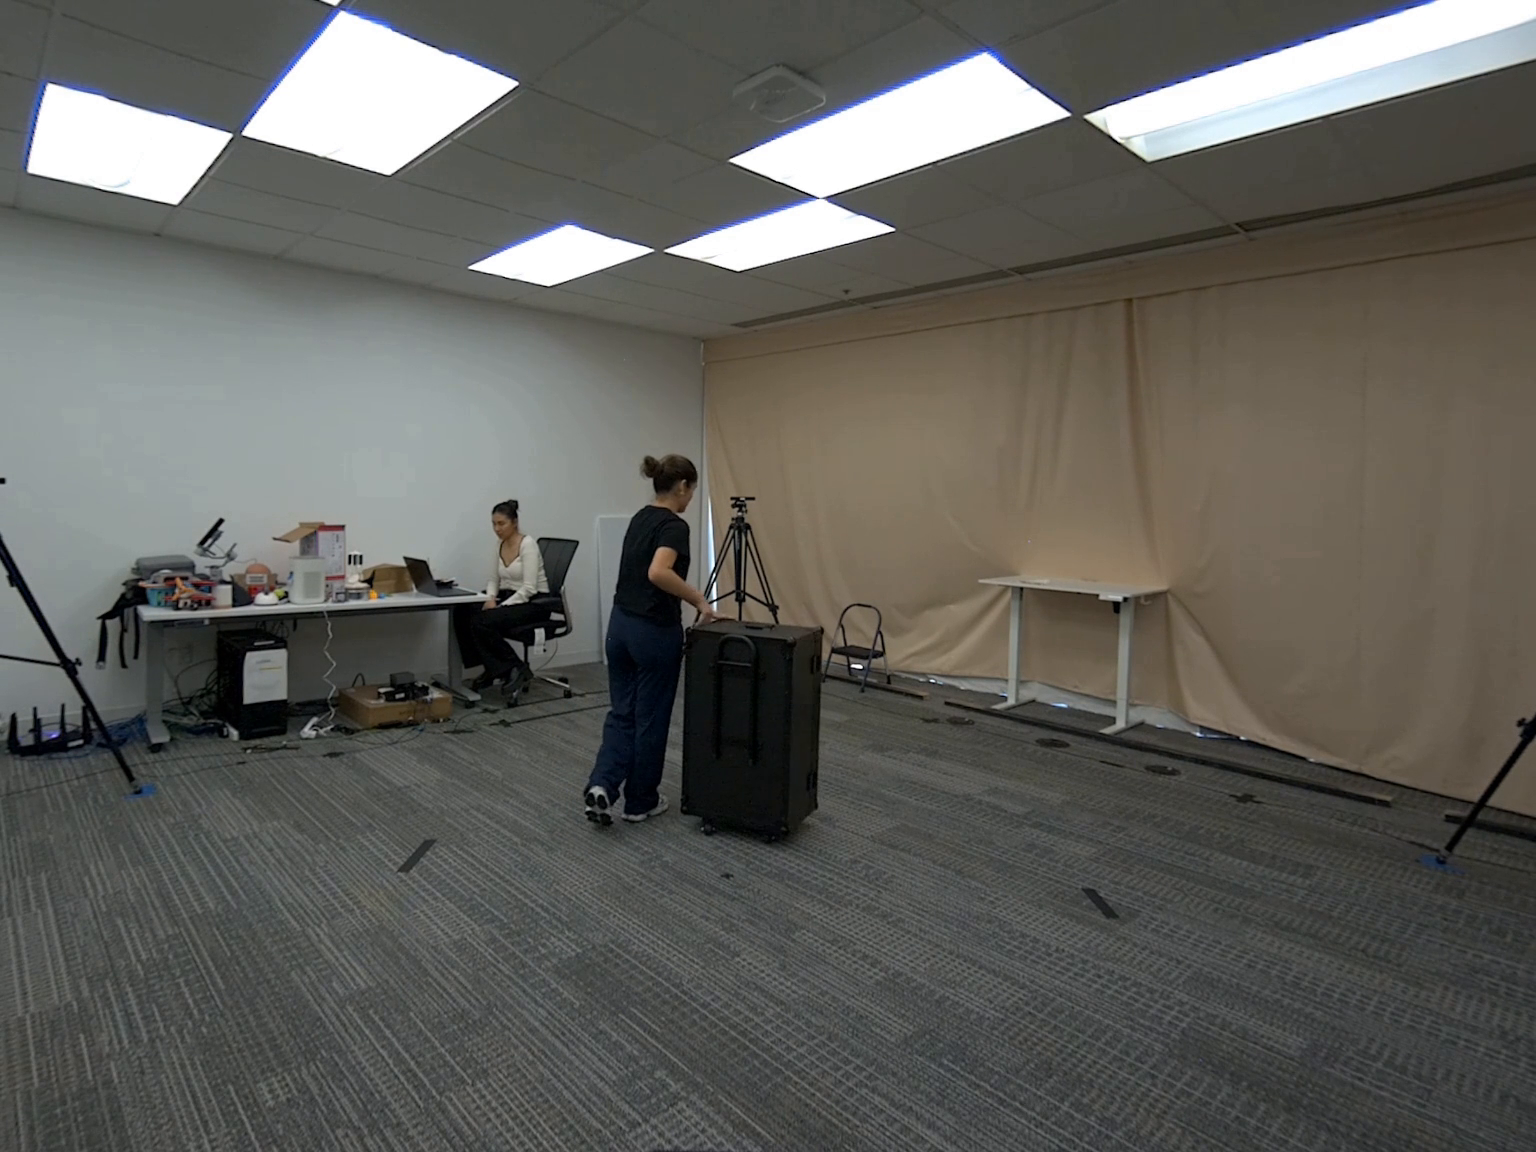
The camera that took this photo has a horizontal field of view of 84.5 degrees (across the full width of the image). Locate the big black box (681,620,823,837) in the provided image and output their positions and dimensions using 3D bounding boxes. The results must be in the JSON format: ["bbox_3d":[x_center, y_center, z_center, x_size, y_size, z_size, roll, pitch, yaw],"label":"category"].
[{"bbox_3d":[-0.065,0.650,3.529,0.531,0.859,0.390,4,5,24],"label":"big black box"}]
